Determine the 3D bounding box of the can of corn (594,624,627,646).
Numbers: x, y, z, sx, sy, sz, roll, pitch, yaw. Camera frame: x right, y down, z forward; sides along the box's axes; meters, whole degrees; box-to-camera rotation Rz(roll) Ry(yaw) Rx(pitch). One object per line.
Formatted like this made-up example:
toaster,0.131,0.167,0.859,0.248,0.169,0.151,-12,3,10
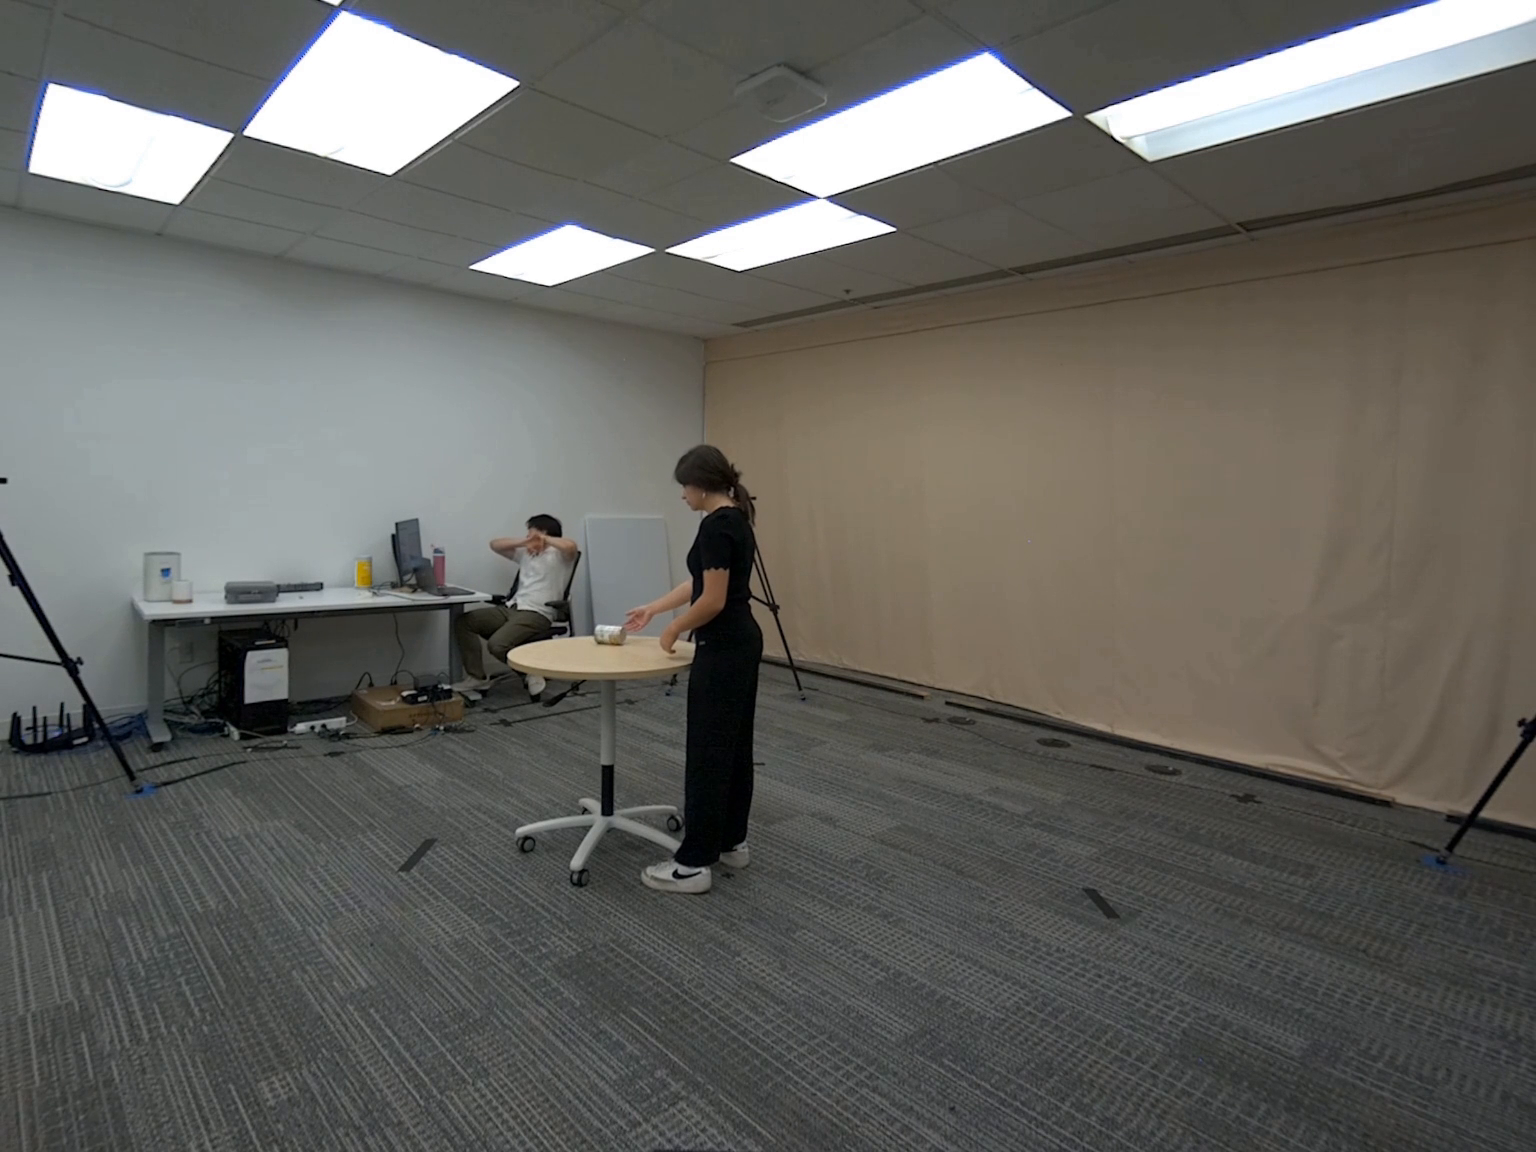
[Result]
can of corn,-0.660,0.240,3.447,0.112,0.074,0.073,4,5,13
